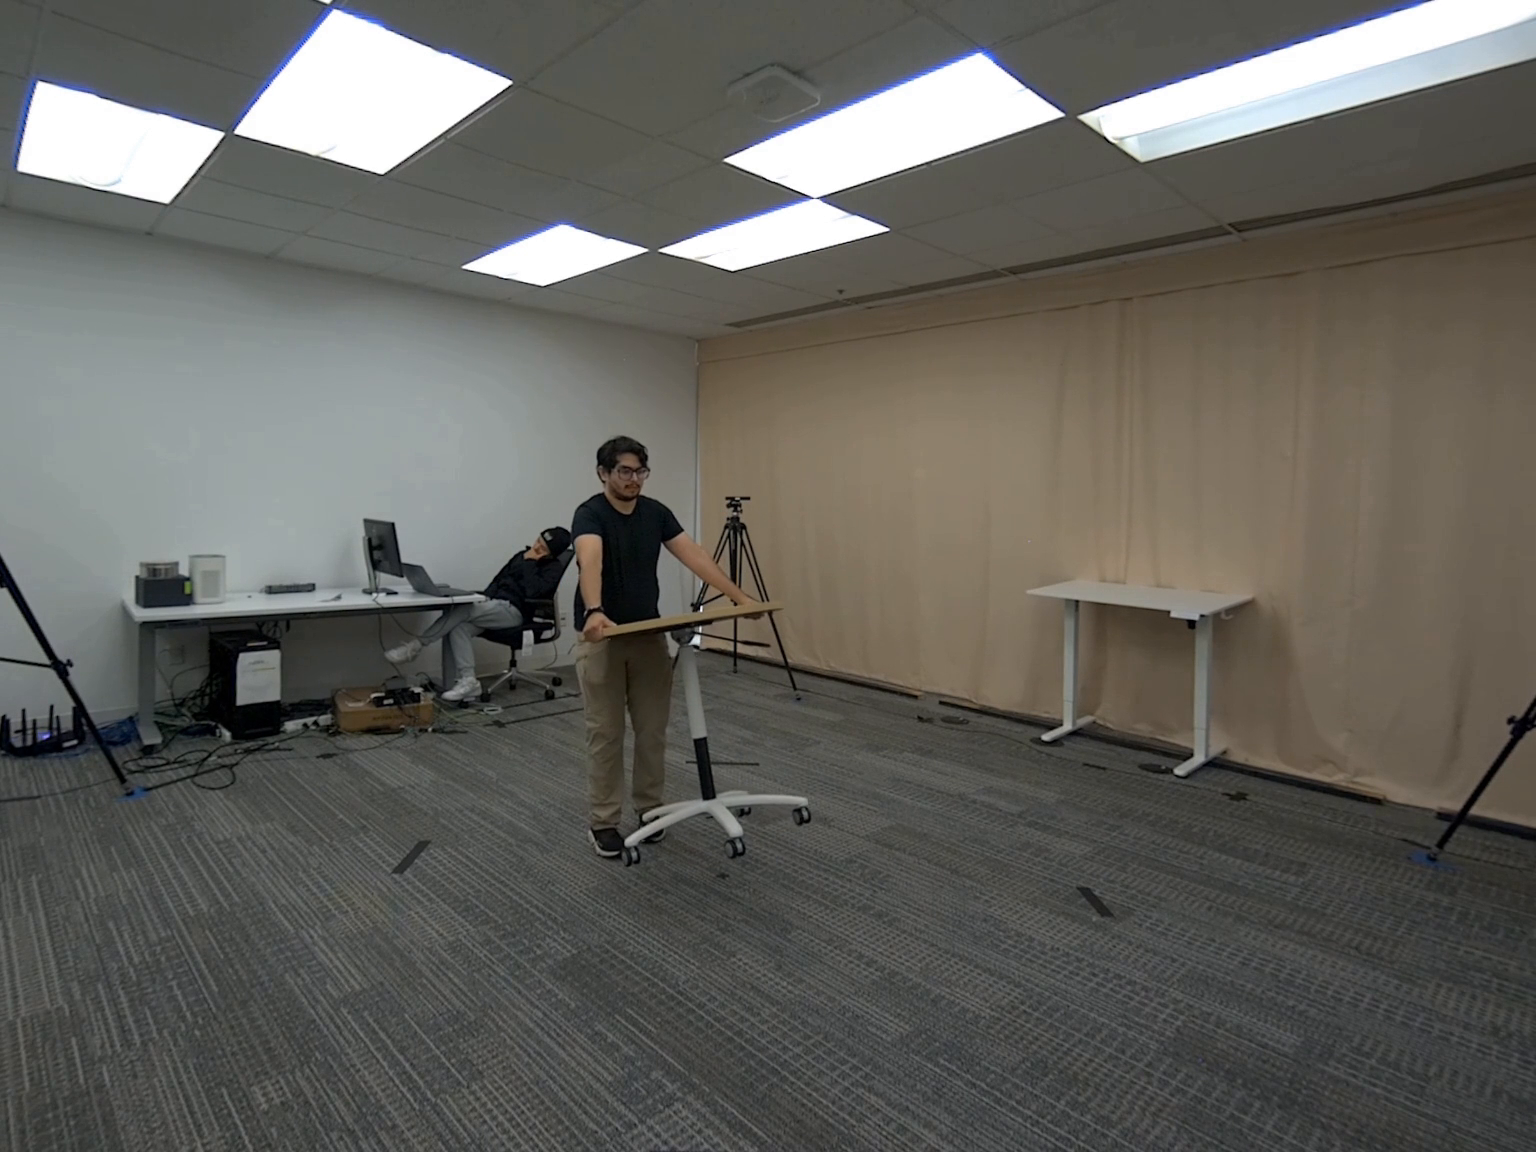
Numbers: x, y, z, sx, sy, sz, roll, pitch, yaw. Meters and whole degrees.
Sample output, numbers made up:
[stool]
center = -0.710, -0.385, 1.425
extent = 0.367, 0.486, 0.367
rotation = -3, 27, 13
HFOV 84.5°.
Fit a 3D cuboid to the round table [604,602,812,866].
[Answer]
[round table]
center = -0.249, 0.552, 3.080
extent = 0.784, 0.790, 0.783
rotation = -9, -4, -2
